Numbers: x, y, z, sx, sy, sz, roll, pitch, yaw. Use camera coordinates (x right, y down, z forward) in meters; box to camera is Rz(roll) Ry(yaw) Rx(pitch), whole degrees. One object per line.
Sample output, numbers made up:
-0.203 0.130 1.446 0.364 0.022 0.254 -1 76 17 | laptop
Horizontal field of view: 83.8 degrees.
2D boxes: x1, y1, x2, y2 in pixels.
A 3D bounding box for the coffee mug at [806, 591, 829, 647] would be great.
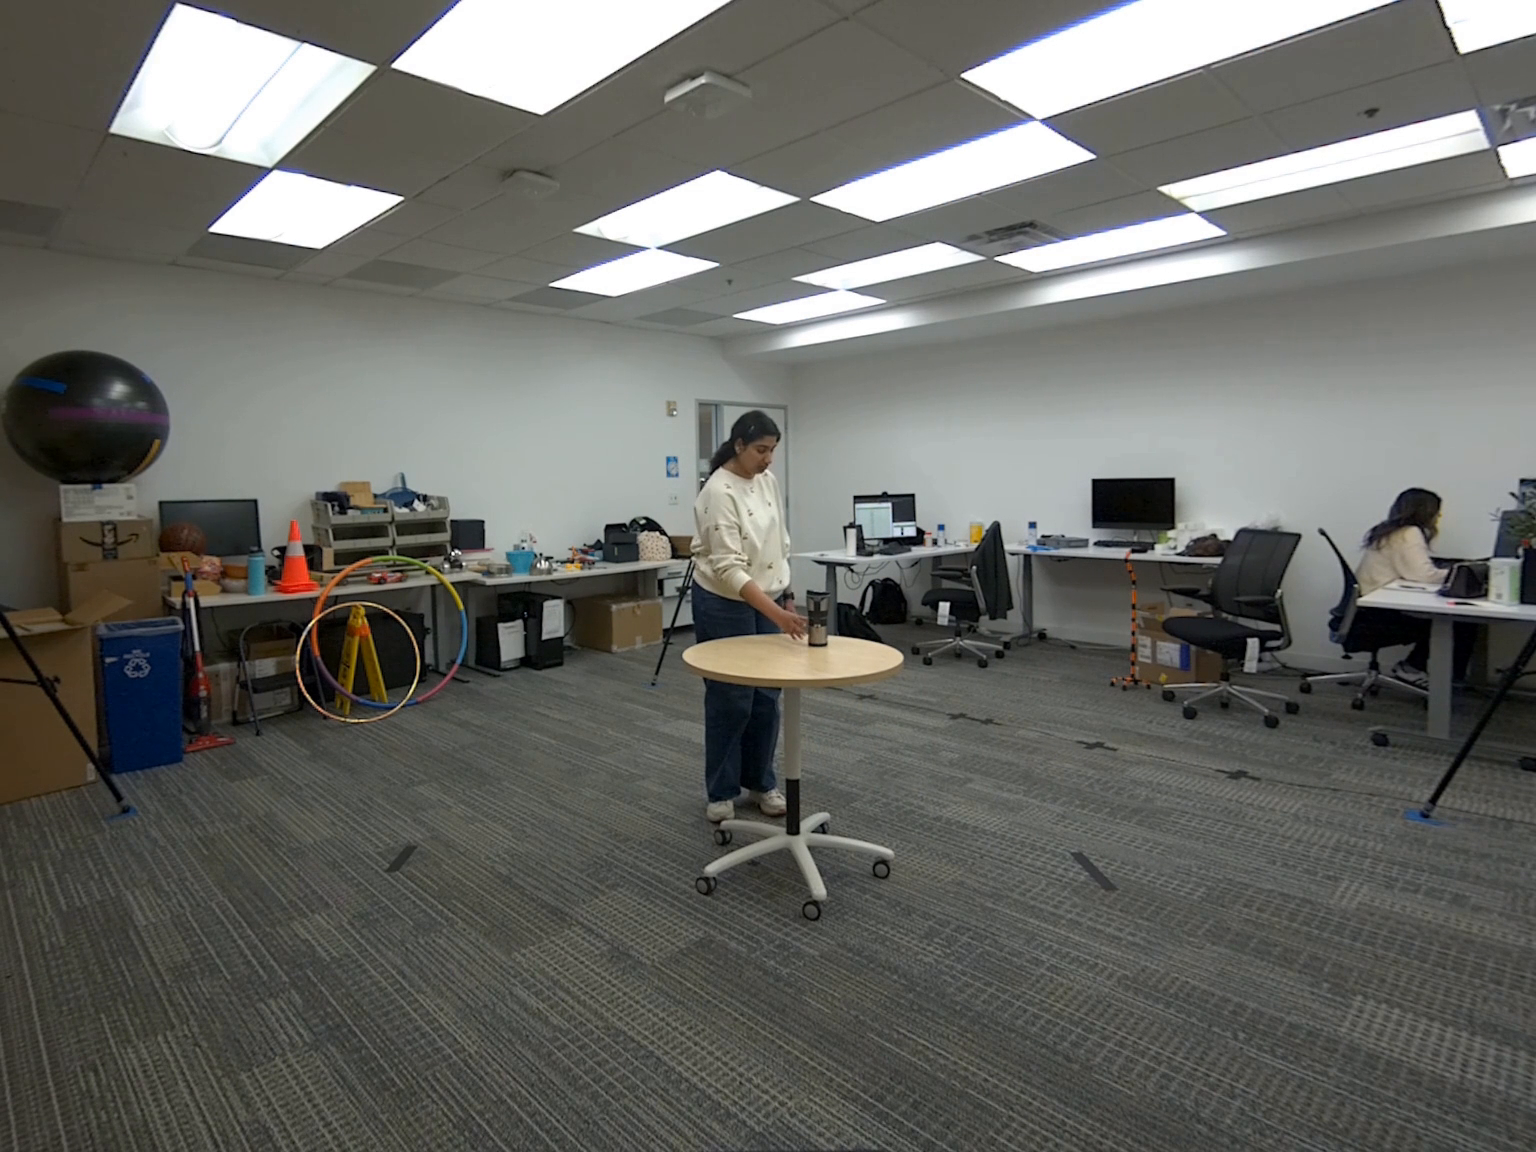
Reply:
0.172 0.158 3.118 0.090 0.202 0.119 5 3 32 | coffee mug
